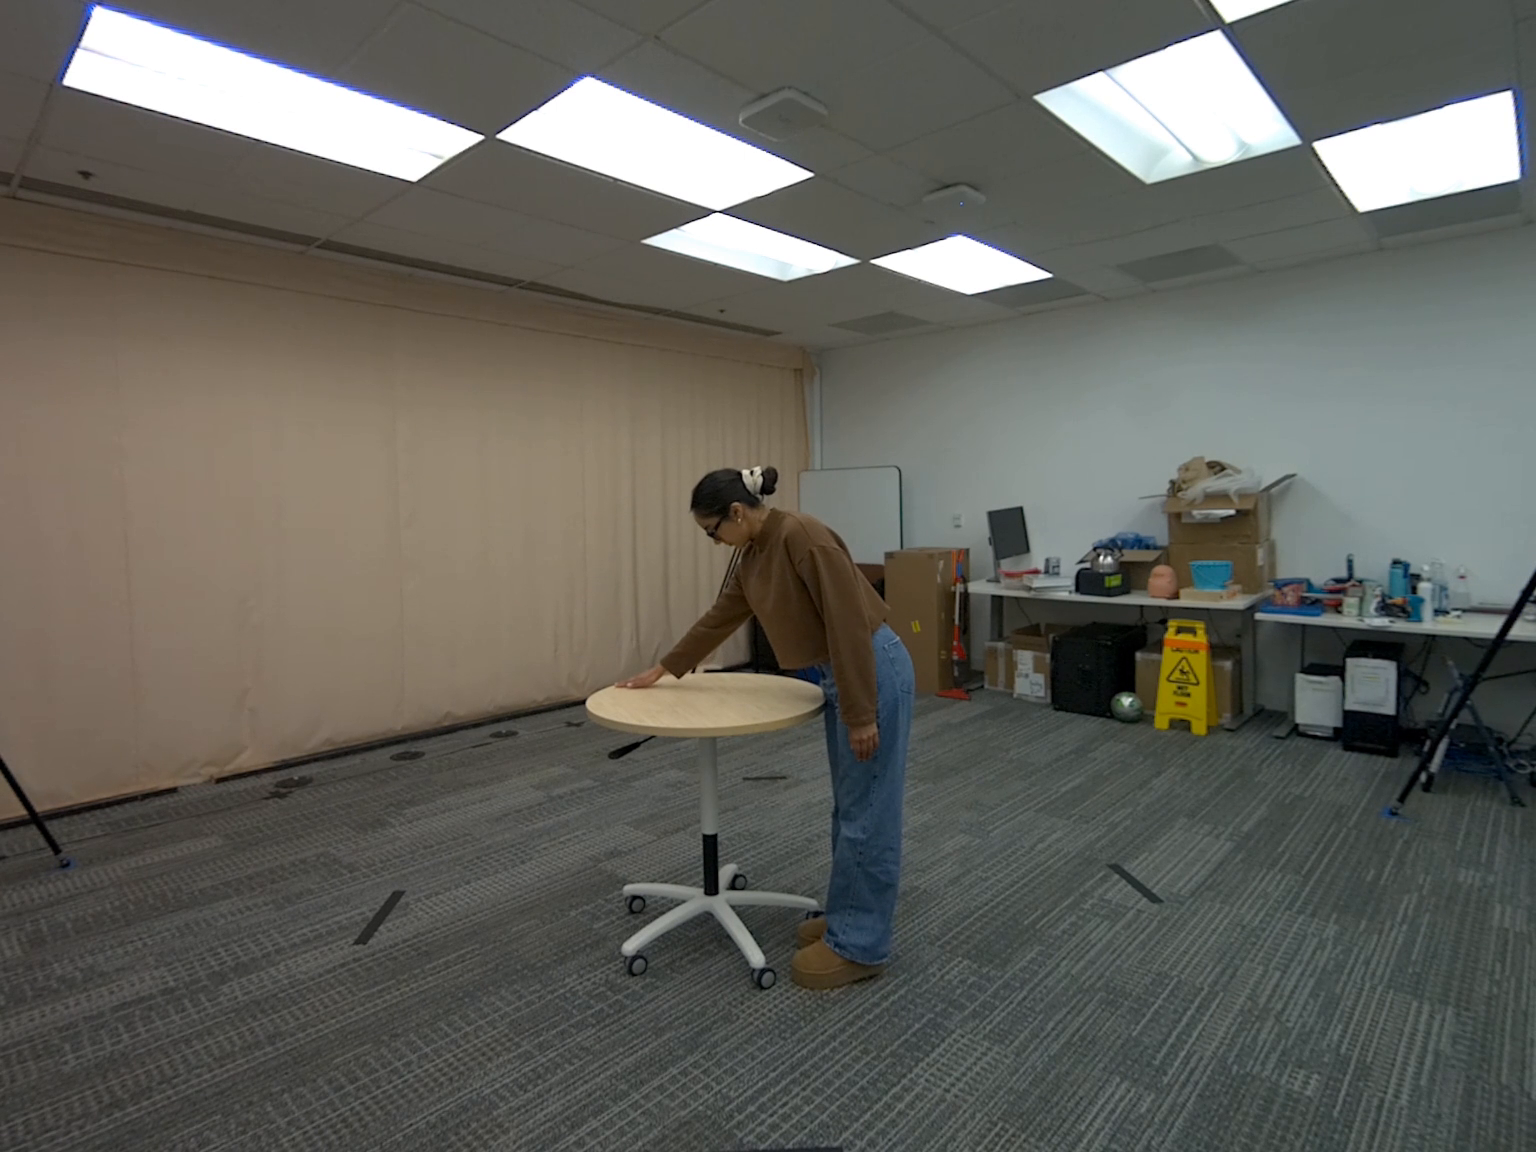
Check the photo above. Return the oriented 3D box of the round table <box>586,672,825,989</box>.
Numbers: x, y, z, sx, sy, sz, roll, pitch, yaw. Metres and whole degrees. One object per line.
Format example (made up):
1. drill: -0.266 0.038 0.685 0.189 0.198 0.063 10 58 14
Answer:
1. round table: -0.189 0.781 2.710 0.763 0.792 0.767 -2 4 -2
